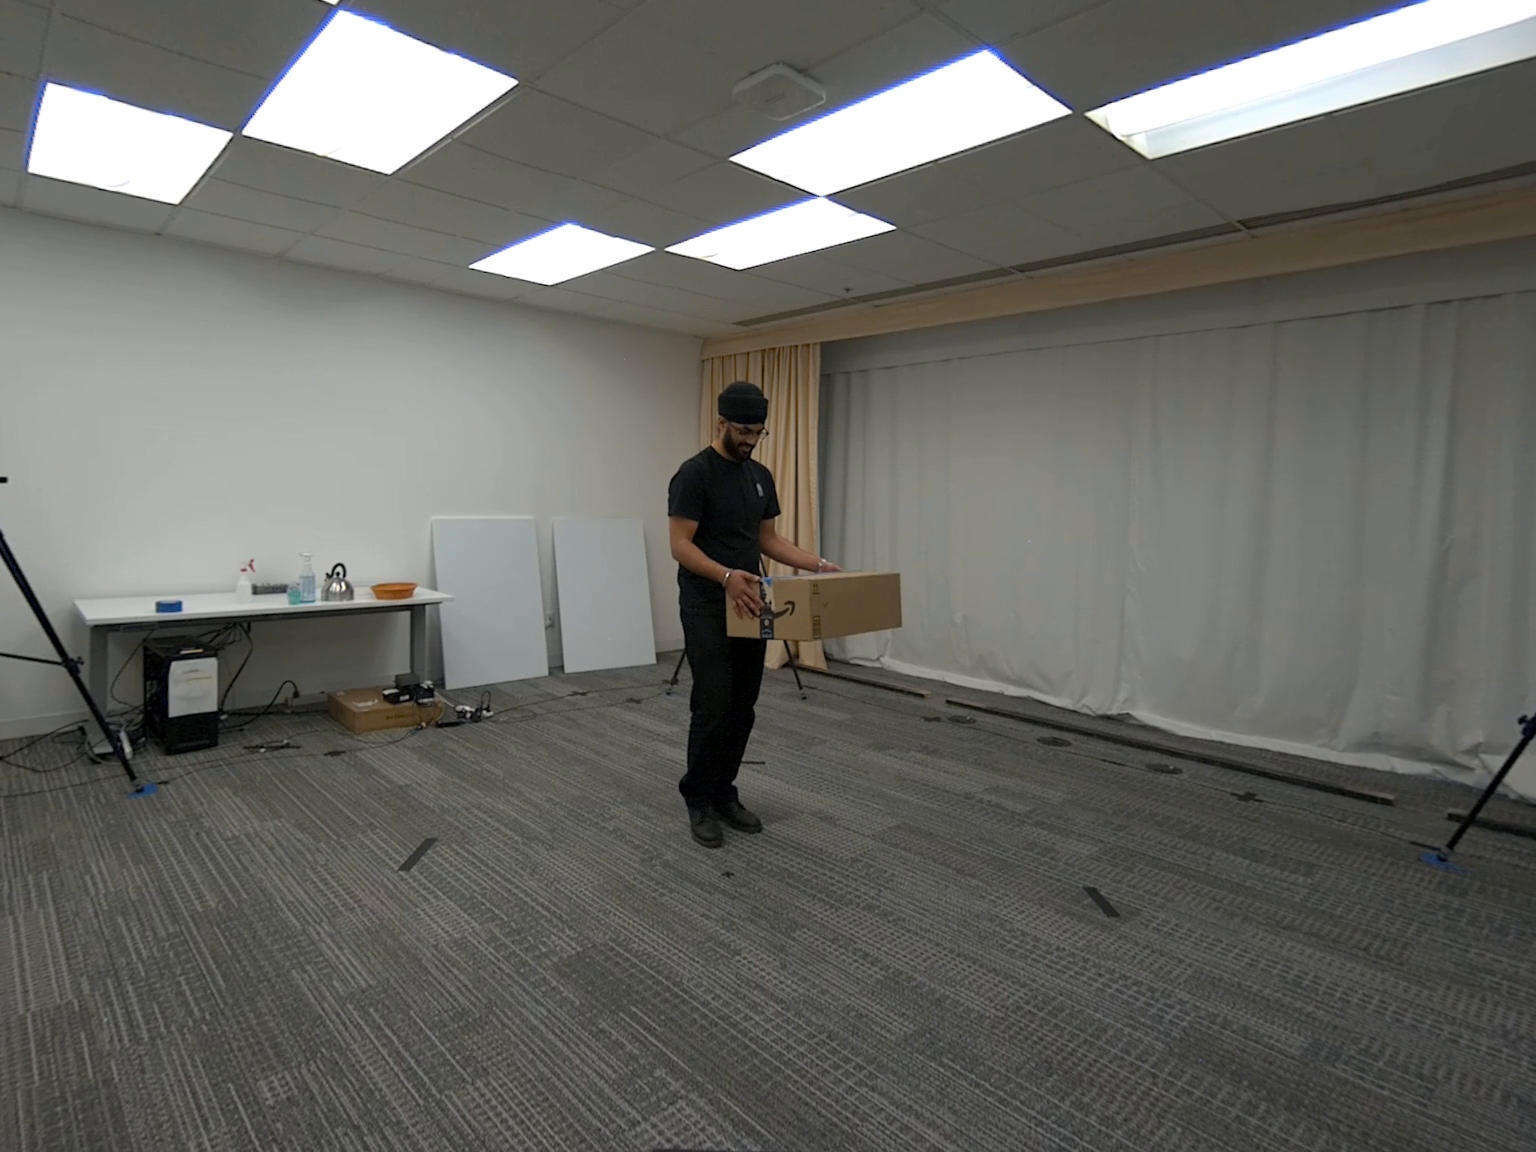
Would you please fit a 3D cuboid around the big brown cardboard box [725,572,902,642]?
[{"bbox_3d":[0.176,0.104,3.231,0.427,0.233,0.576,-1,2,43],"label":"big brown cardboard box"}]
